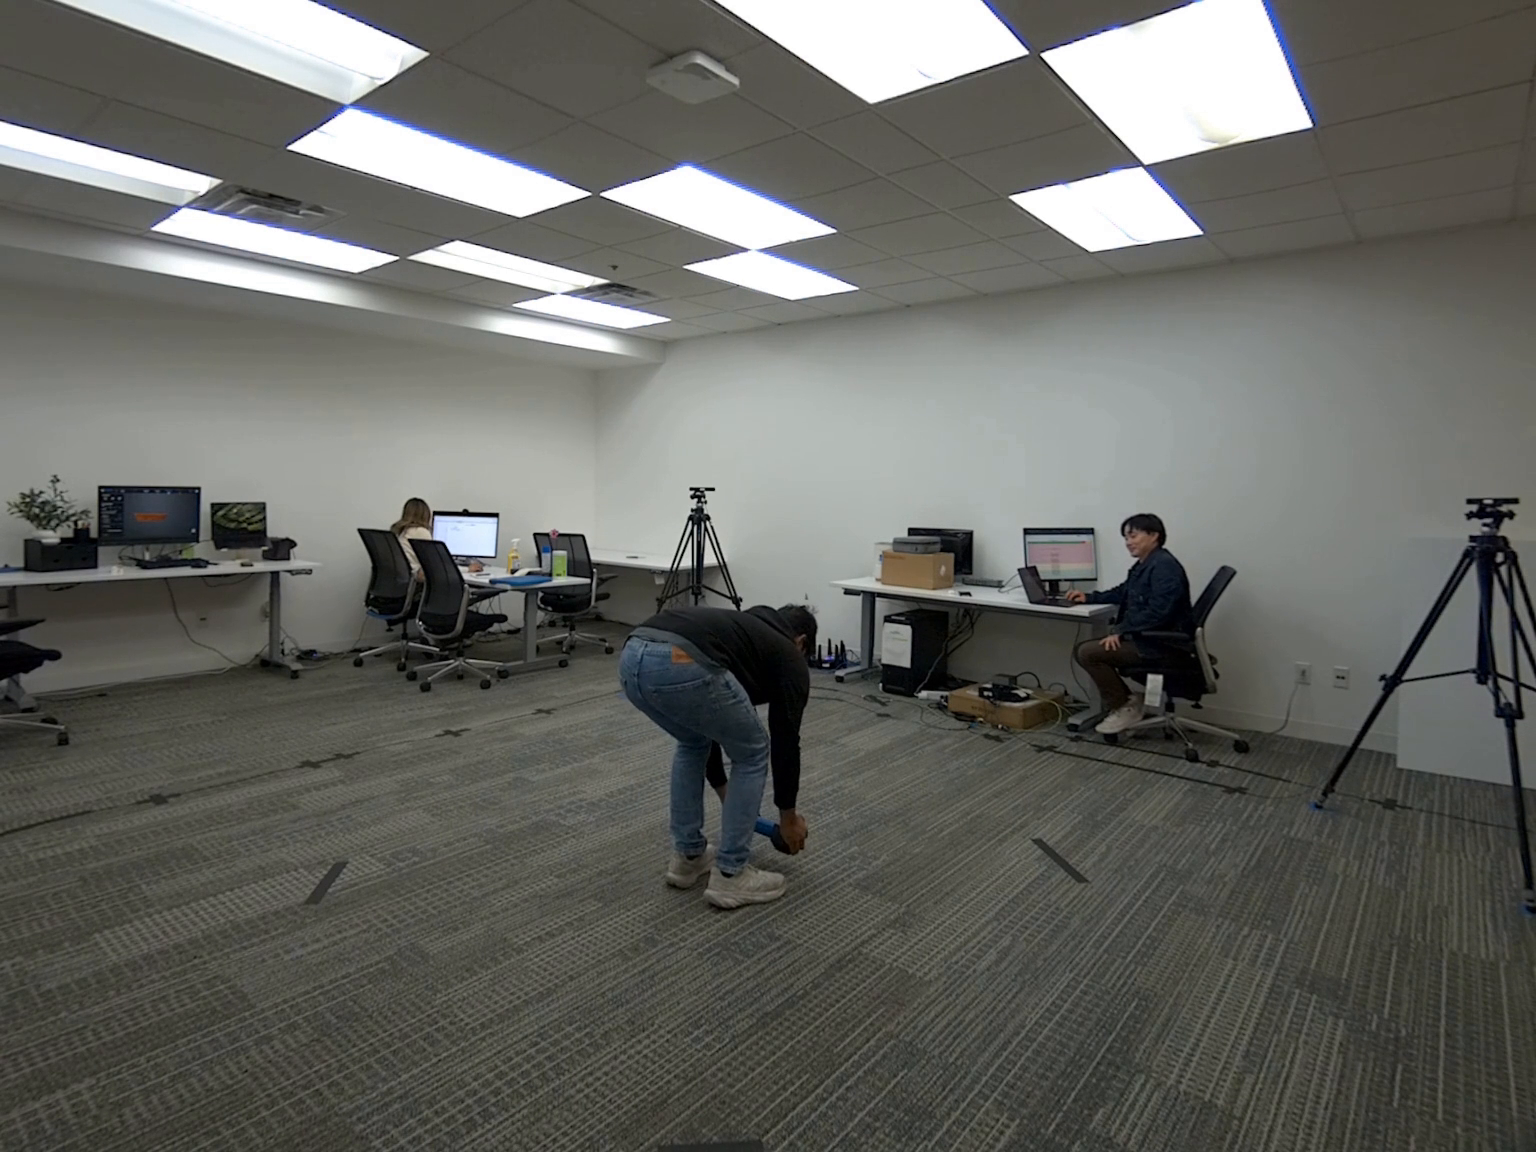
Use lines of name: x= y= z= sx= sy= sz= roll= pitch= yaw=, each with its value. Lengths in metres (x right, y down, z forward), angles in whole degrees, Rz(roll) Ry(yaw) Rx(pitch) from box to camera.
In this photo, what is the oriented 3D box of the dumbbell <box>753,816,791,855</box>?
dumbbell: x=-0.026 y=0.927 z=3.181 sx=0.304 sy=0.119 sz=0.108 roll=8 pitch=45 yaw=44
